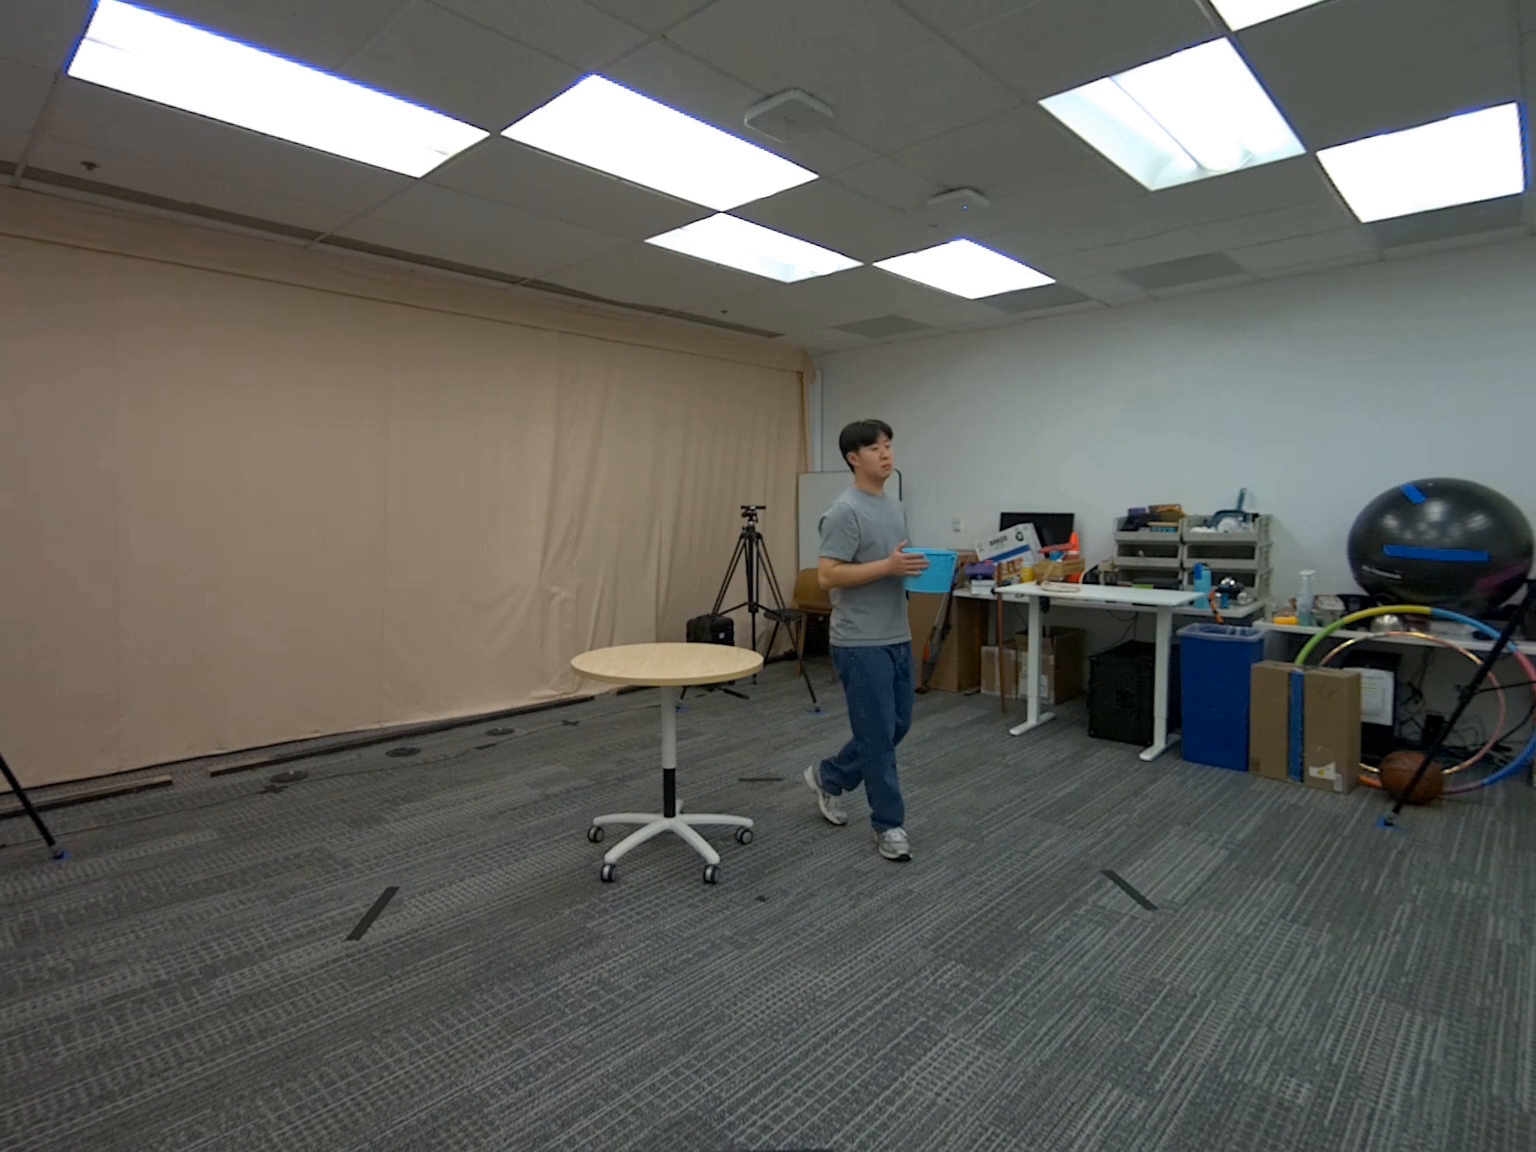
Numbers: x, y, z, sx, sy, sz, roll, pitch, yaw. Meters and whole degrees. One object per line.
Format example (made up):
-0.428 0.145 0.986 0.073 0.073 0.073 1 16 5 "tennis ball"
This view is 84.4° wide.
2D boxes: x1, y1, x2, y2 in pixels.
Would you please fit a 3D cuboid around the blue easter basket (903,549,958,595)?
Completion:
0.625 -0.022 3.317 0.243 0.155 0.244 2 4 -2 "blue easter basket"
